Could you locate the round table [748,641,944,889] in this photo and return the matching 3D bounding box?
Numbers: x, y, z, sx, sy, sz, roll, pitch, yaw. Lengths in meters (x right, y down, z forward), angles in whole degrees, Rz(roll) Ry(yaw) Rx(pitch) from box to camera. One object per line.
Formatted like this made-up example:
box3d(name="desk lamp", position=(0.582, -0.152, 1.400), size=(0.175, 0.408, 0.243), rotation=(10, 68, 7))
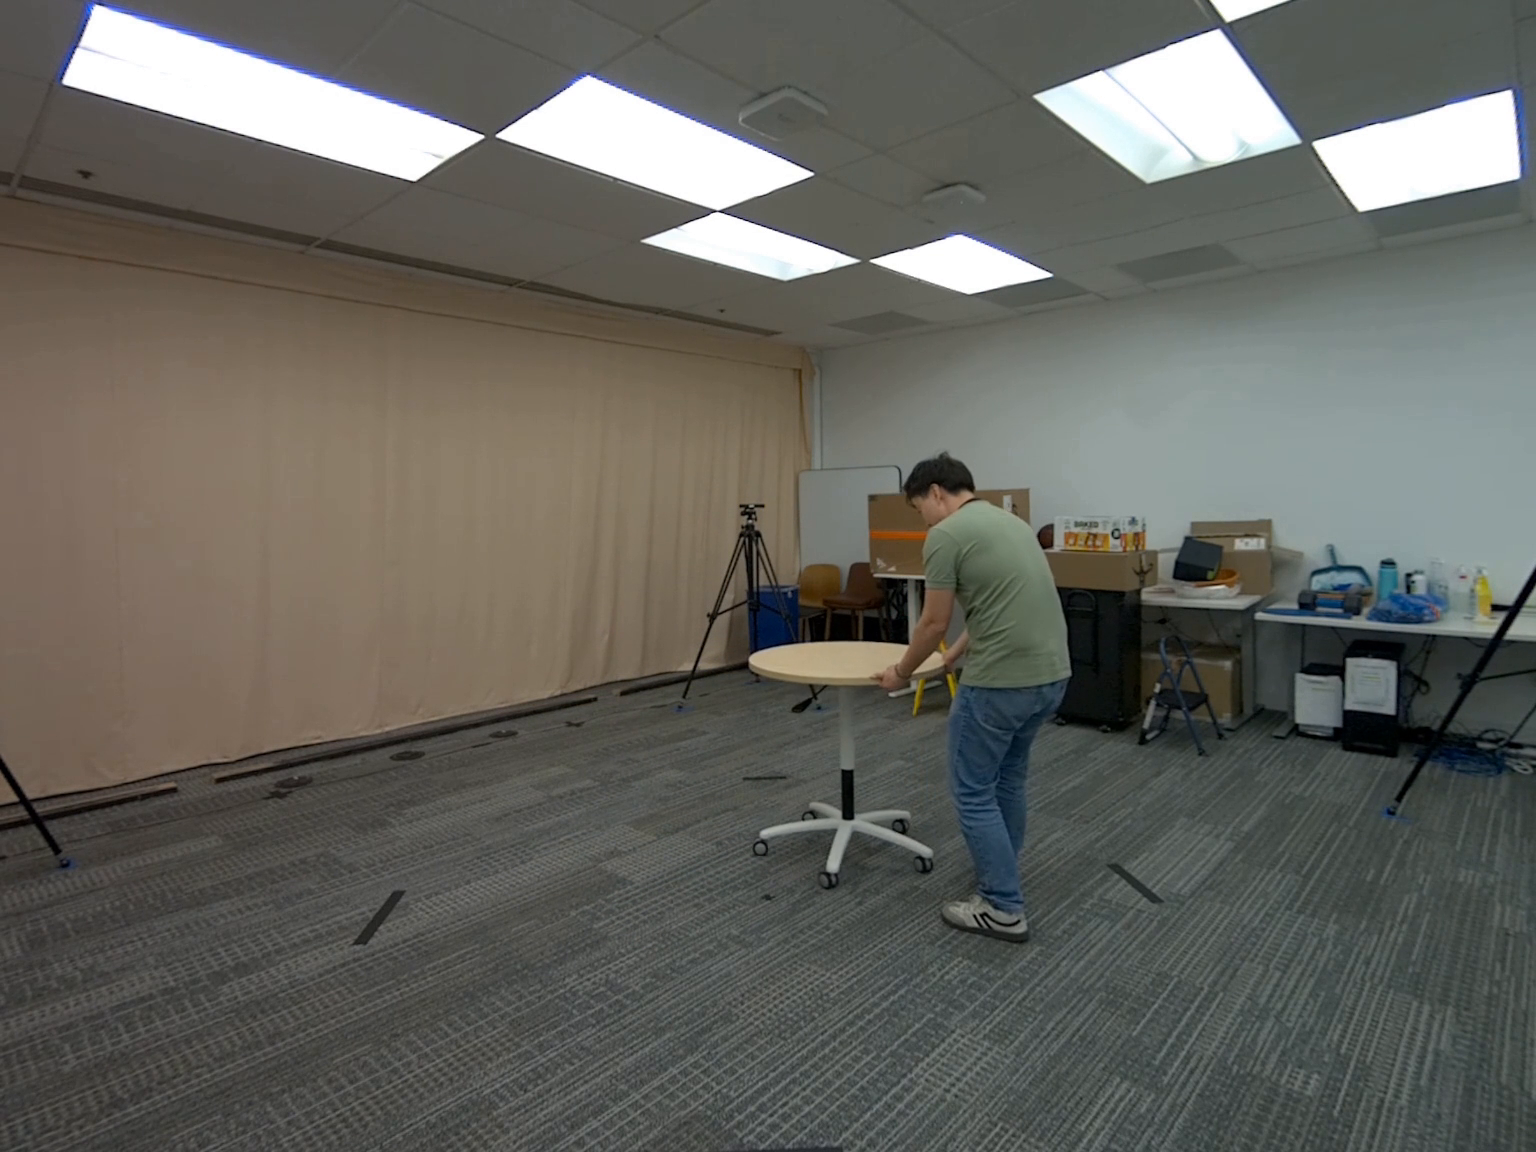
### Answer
box3d(name="round table", position=(0.315, 0.715, 3.334), size=(0.763, 0.792, 0.766), rotation=(-1, 4, -2))
